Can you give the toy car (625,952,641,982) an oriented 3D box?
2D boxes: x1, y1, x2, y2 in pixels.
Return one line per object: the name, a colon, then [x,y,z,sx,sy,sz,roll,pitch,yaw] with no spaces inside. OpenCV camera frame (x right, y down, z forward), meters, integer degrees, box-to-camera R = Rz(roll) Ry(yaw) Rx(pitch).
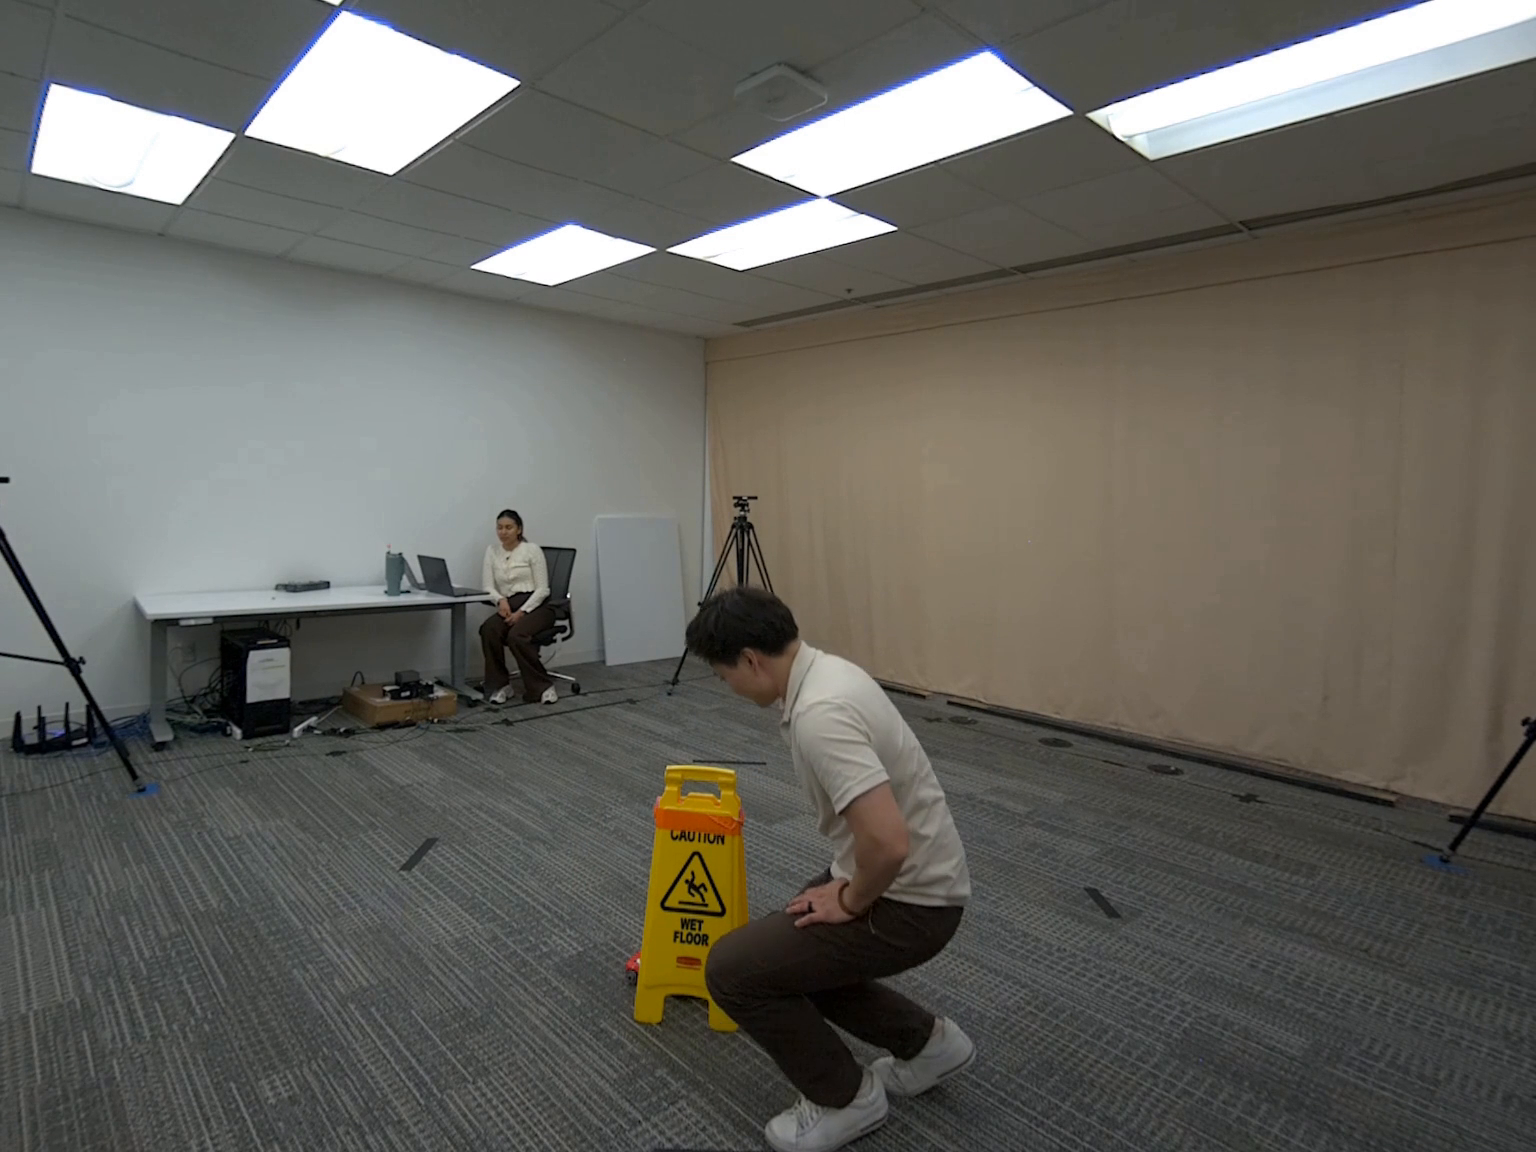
toy car: [-0.286,1.146,2.384,0.258,0.083,0.128,-10,-1,25]
